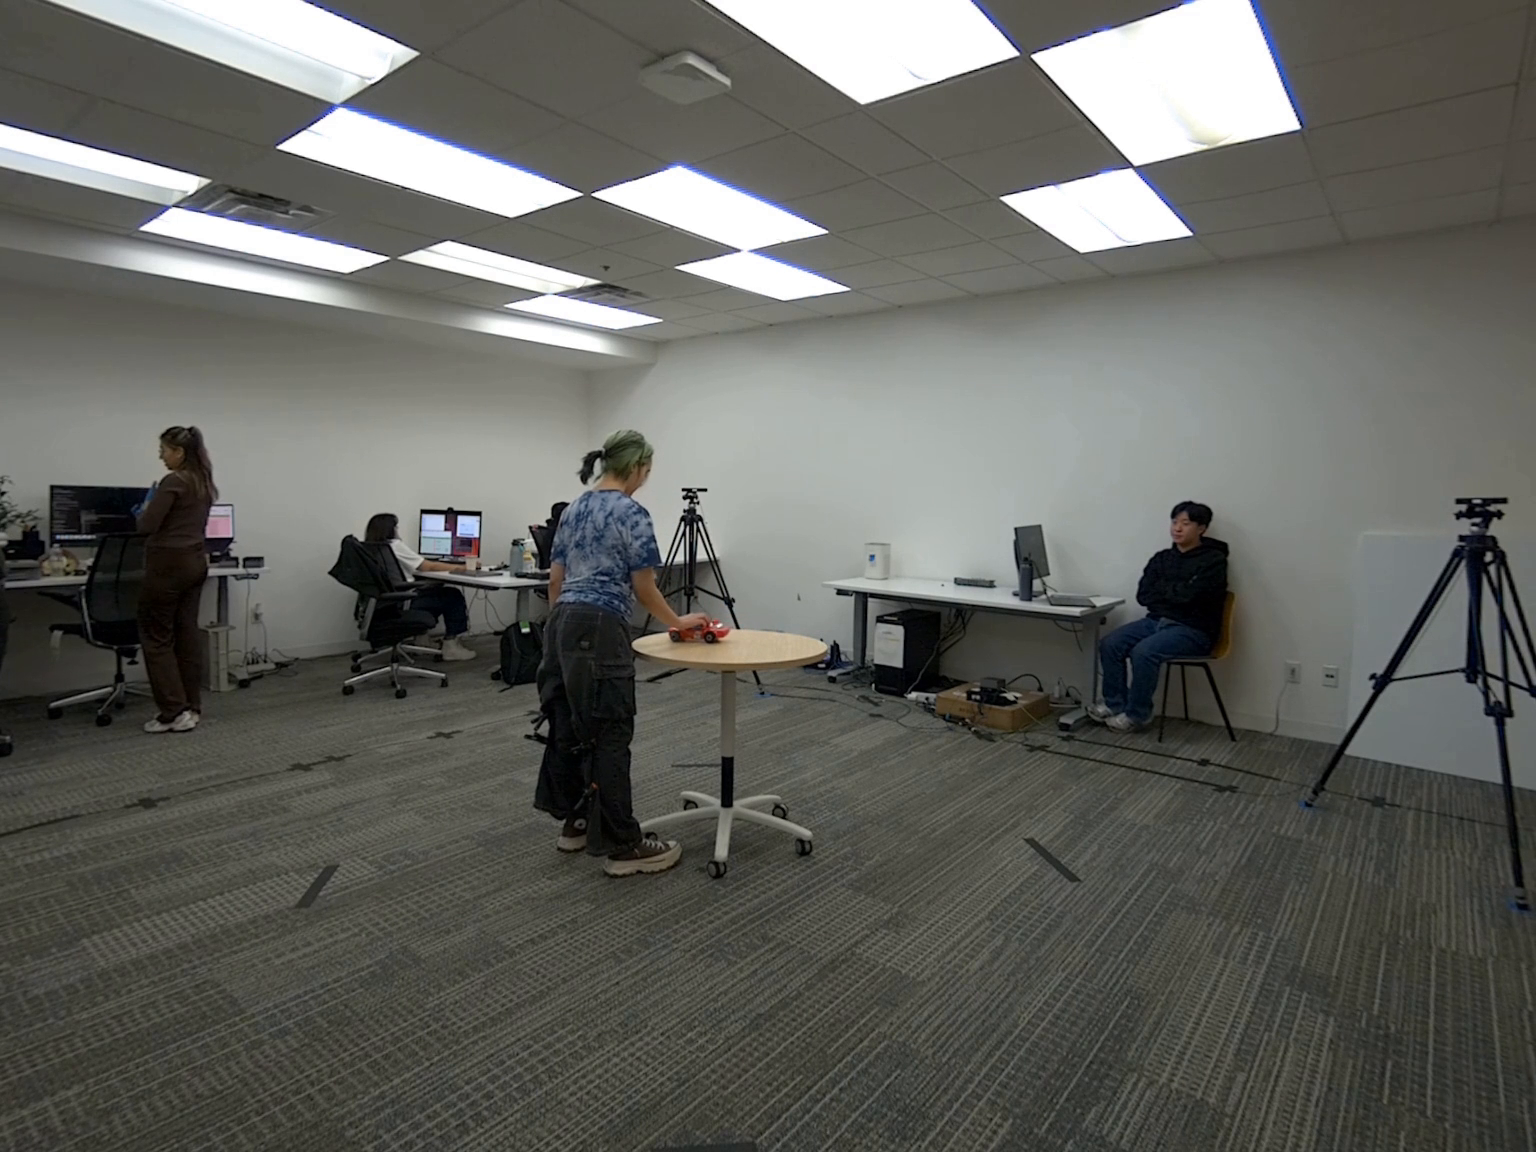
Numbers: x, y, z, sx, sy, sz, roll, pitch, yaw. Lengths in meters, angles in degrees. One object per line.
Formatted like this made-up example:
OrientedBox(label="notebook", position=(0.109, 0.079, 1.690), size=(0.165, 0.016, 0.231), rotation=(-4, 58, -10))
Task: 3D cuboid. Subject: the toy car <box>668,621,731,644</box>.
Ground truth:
OrientedBox(label="toy car", position=(-0.276, 0.228, 3.410), size=(0.258, 0.083, 0.129), rotation=(-9, 1, 14))
